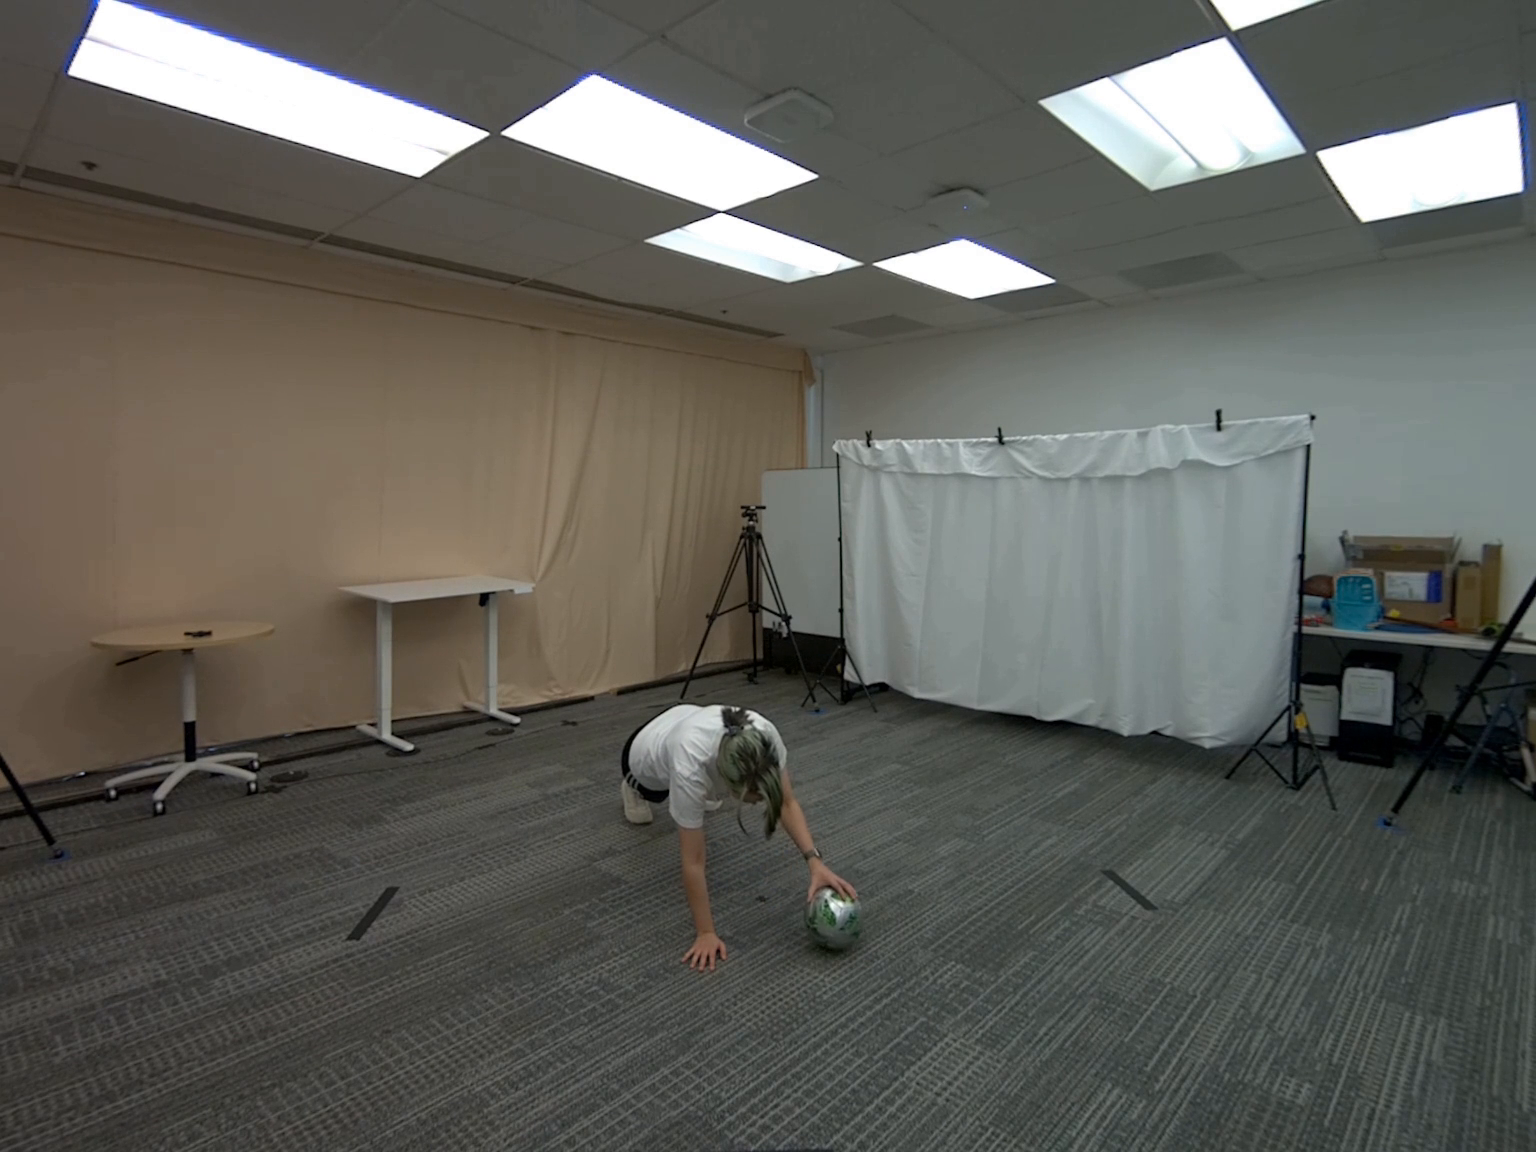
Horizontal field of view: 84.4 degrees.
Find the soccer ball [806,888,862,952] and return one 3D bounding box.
[{"bbox_3d":[0.200,1.073,2.640,0.187,0.187,0.188,0,4,-2],"label":"soccer ball"}]
